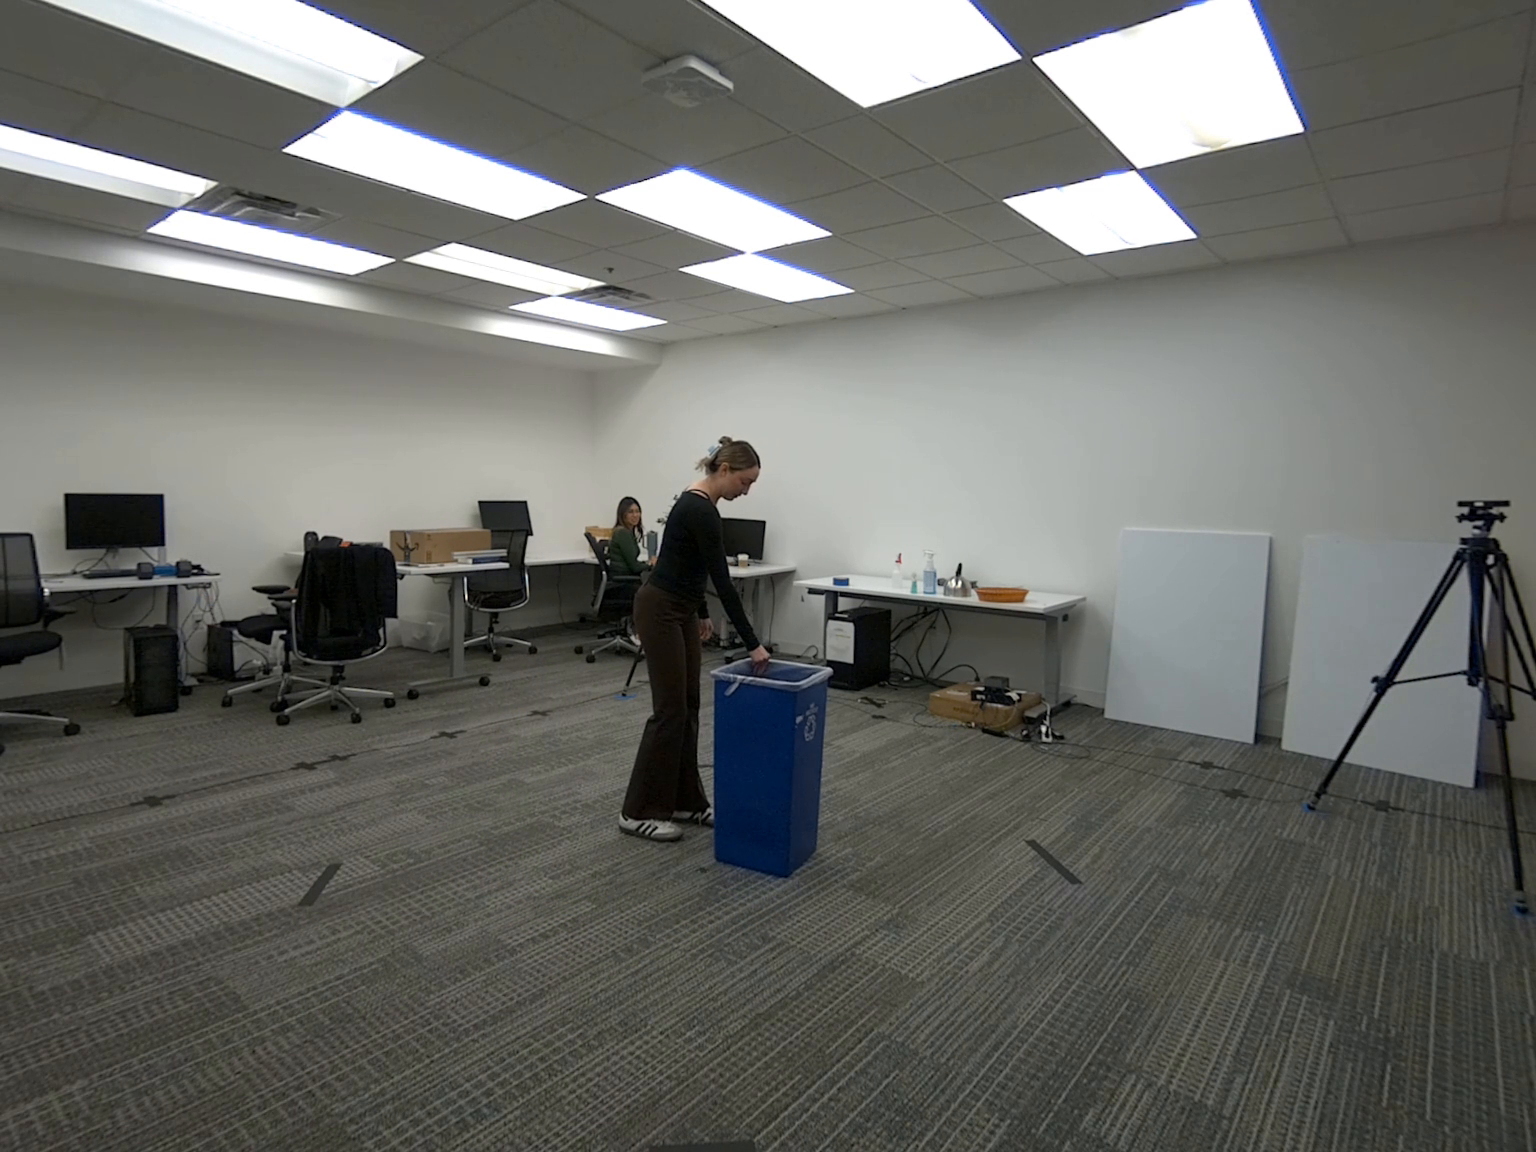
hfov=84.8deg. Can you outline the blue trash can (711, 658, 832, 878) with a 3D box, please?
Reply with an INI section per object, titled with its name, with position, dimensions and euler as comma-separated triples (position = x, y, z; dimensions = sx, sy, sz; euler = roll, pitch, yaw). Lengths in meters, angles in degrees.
[blue trash can]
position = -0.010, 0.705, 3.243
dimensions = 0.388, 0.711, 0.365
euler = 3, 4, 27
